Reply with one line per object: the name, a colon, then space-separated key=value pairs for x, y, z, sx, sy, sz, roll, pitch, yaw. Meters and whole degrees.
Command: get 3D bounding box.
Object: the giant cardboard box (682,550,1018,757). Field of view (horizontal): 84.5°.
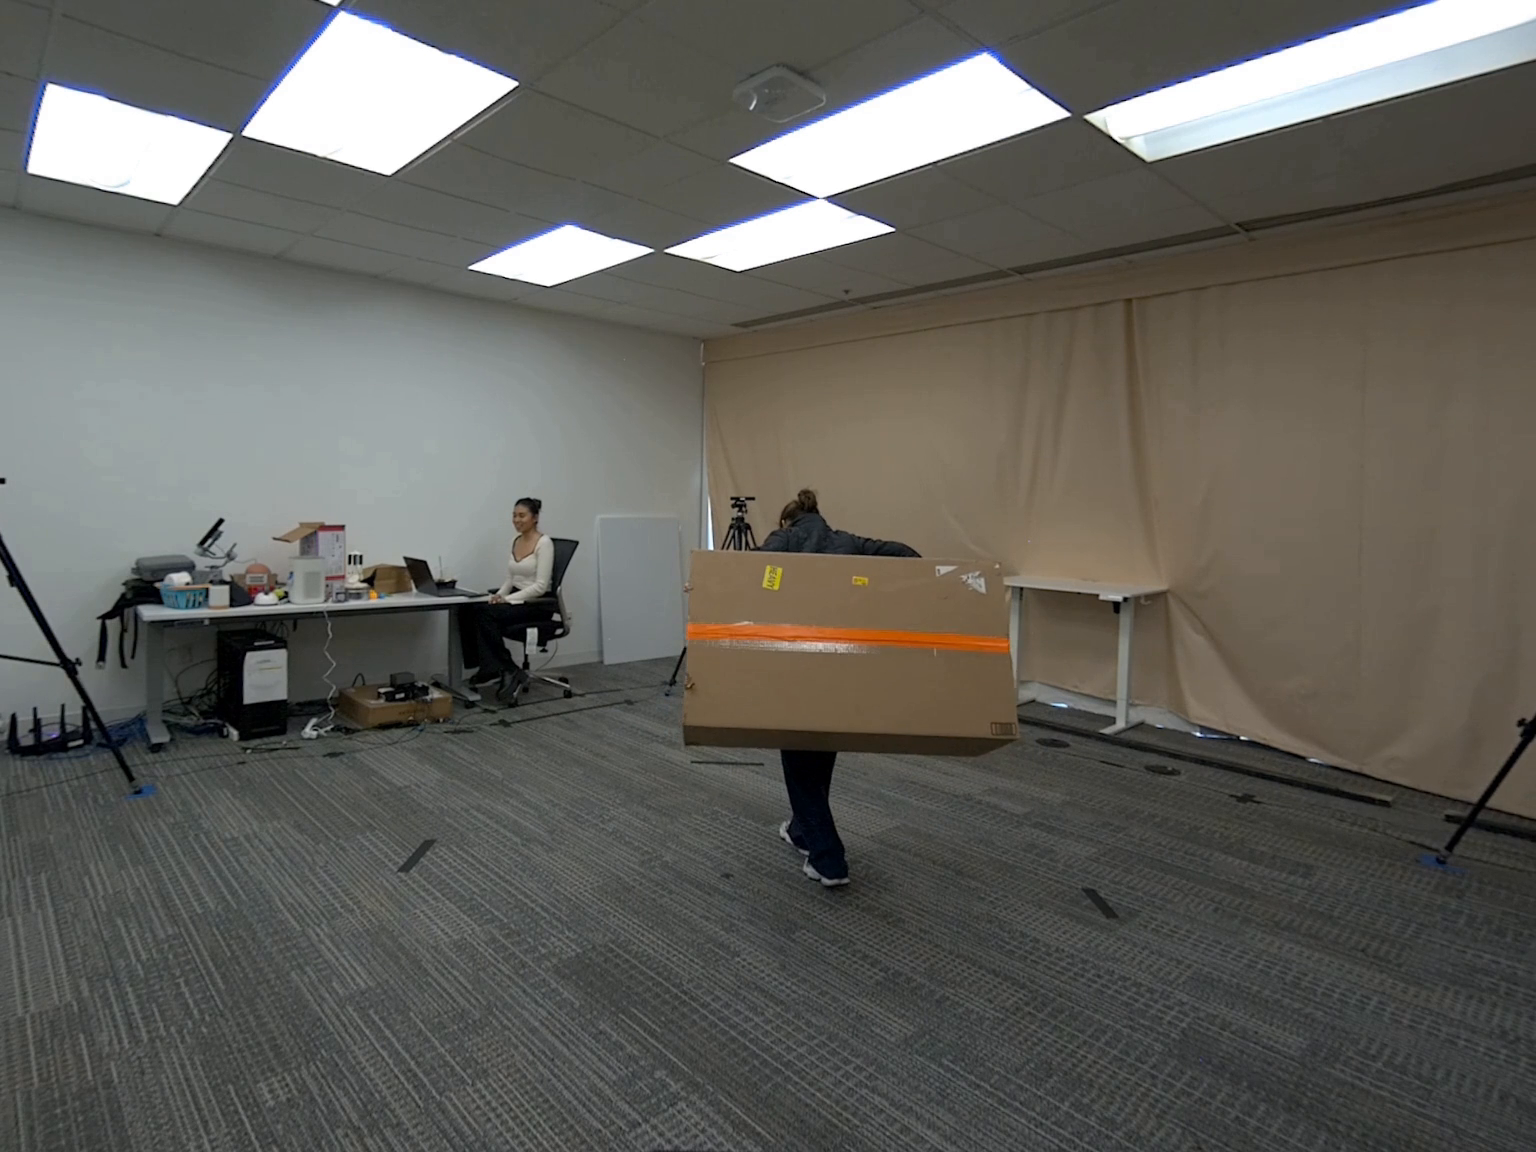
giant cardboard box: x=0.239 y=0.275 z=2.816 sx=1.025 sy=0.586 sz=0.420 roll=3 pitch=-22 yaw=-2
